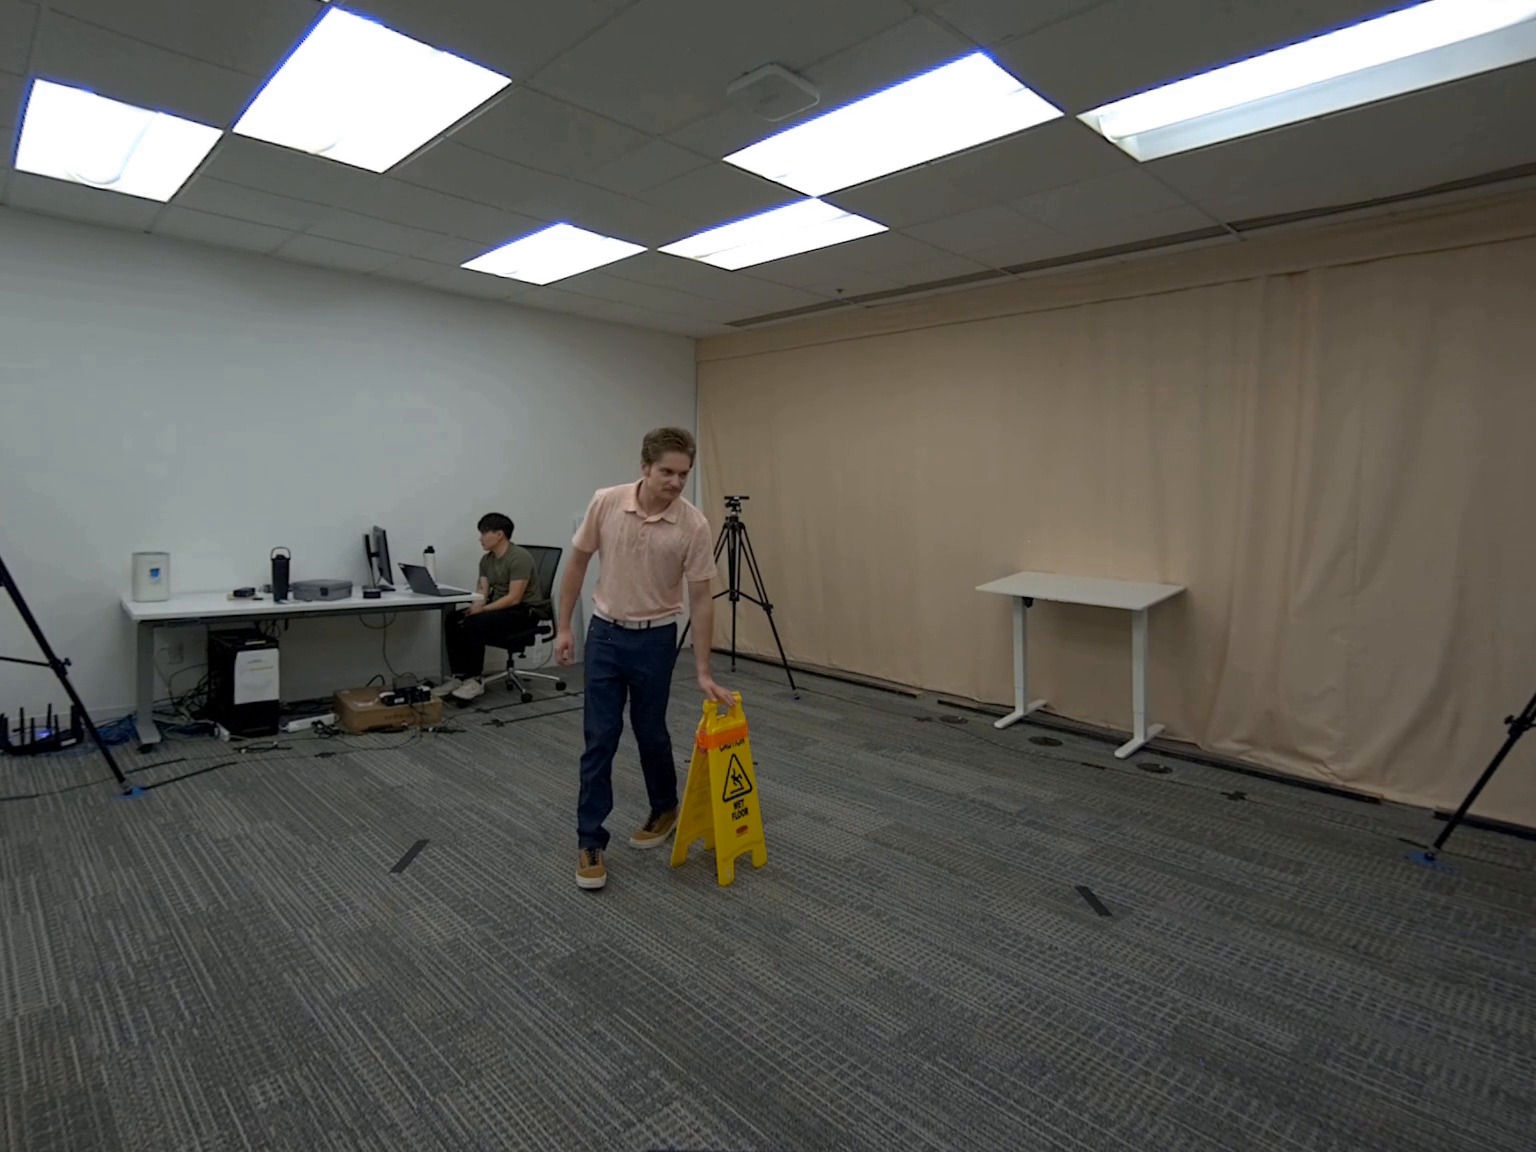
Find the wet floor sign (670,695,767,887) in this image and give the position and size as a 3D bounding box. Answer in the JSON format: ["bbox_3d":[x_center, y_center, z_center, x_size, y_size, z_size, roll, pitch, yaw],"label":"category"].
[{"bbox_3d":[-0.183,0.772,3.171,0.297,0.644,0.276,5,5,36],"label":"wet floor sign"}]
